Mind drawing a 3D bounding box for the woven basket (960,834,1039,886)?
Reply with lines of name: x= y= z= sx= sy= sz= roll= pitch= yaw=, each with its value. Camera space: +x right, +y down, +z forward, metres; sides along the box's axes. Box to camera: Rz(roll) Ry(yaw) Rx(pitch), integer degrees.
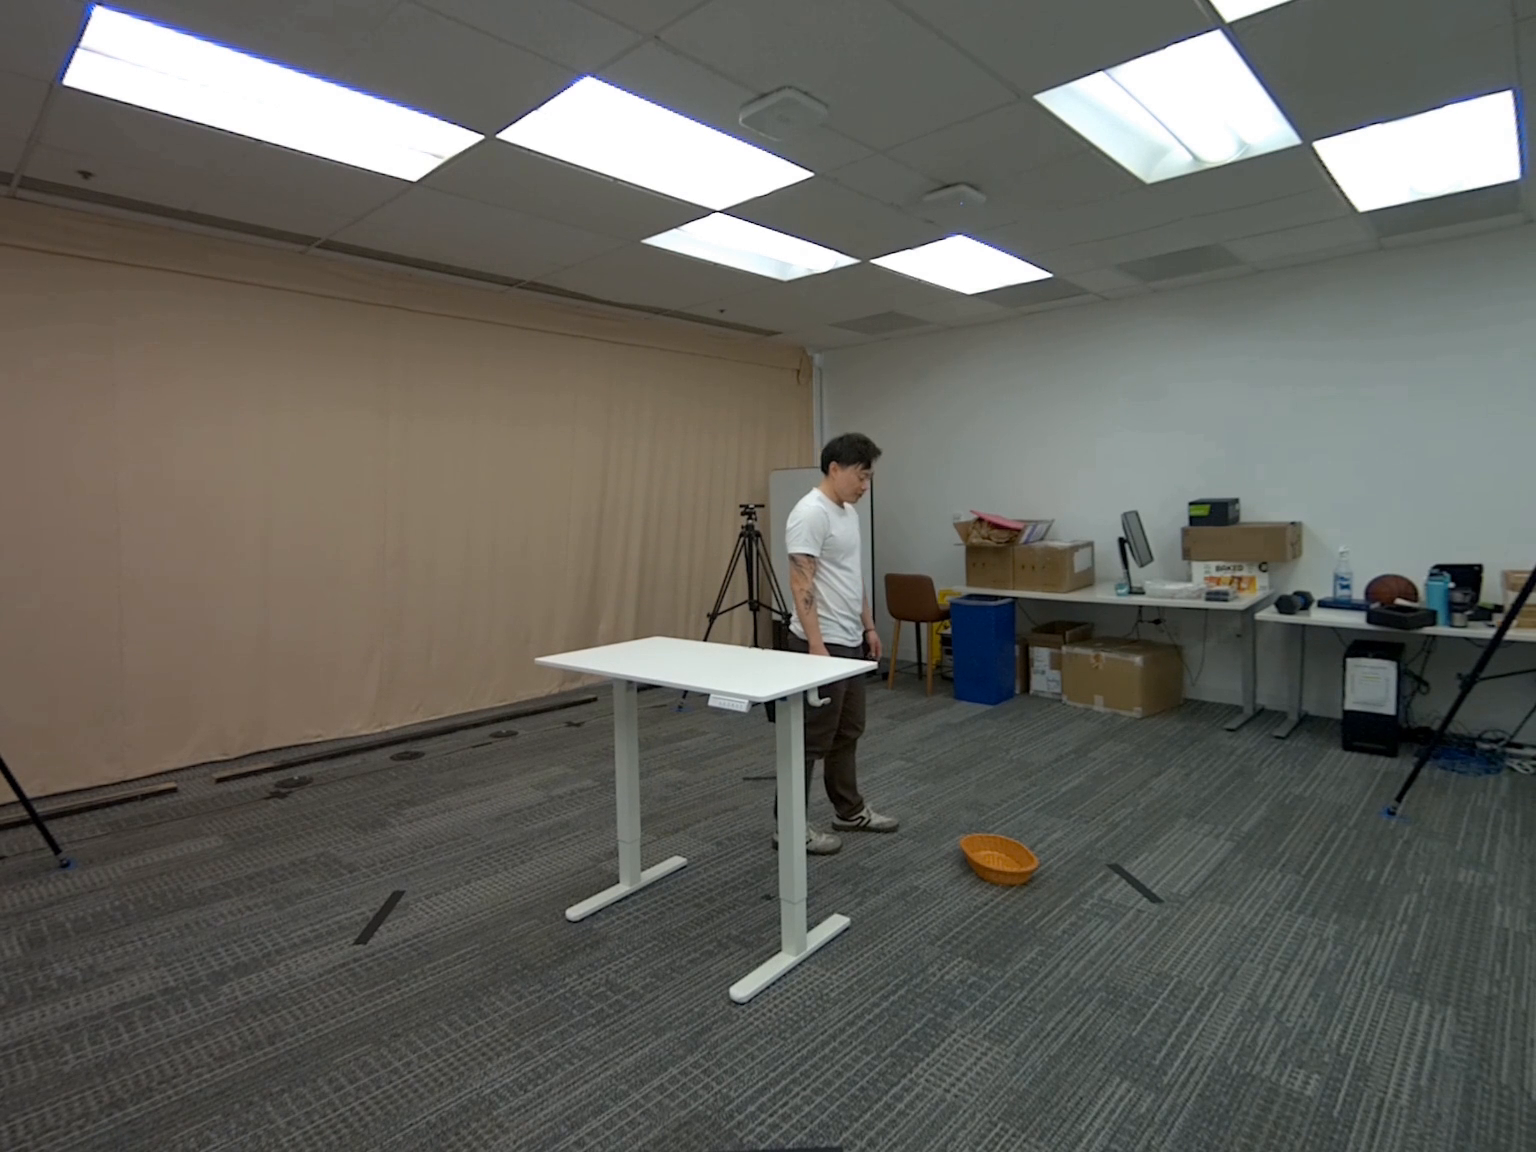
woven basket: x=0.869 y=1.070 z=3.177 sx=0.252 sy=0.073 sz=0.351 roll=0 pitch=4 yaw=-2
